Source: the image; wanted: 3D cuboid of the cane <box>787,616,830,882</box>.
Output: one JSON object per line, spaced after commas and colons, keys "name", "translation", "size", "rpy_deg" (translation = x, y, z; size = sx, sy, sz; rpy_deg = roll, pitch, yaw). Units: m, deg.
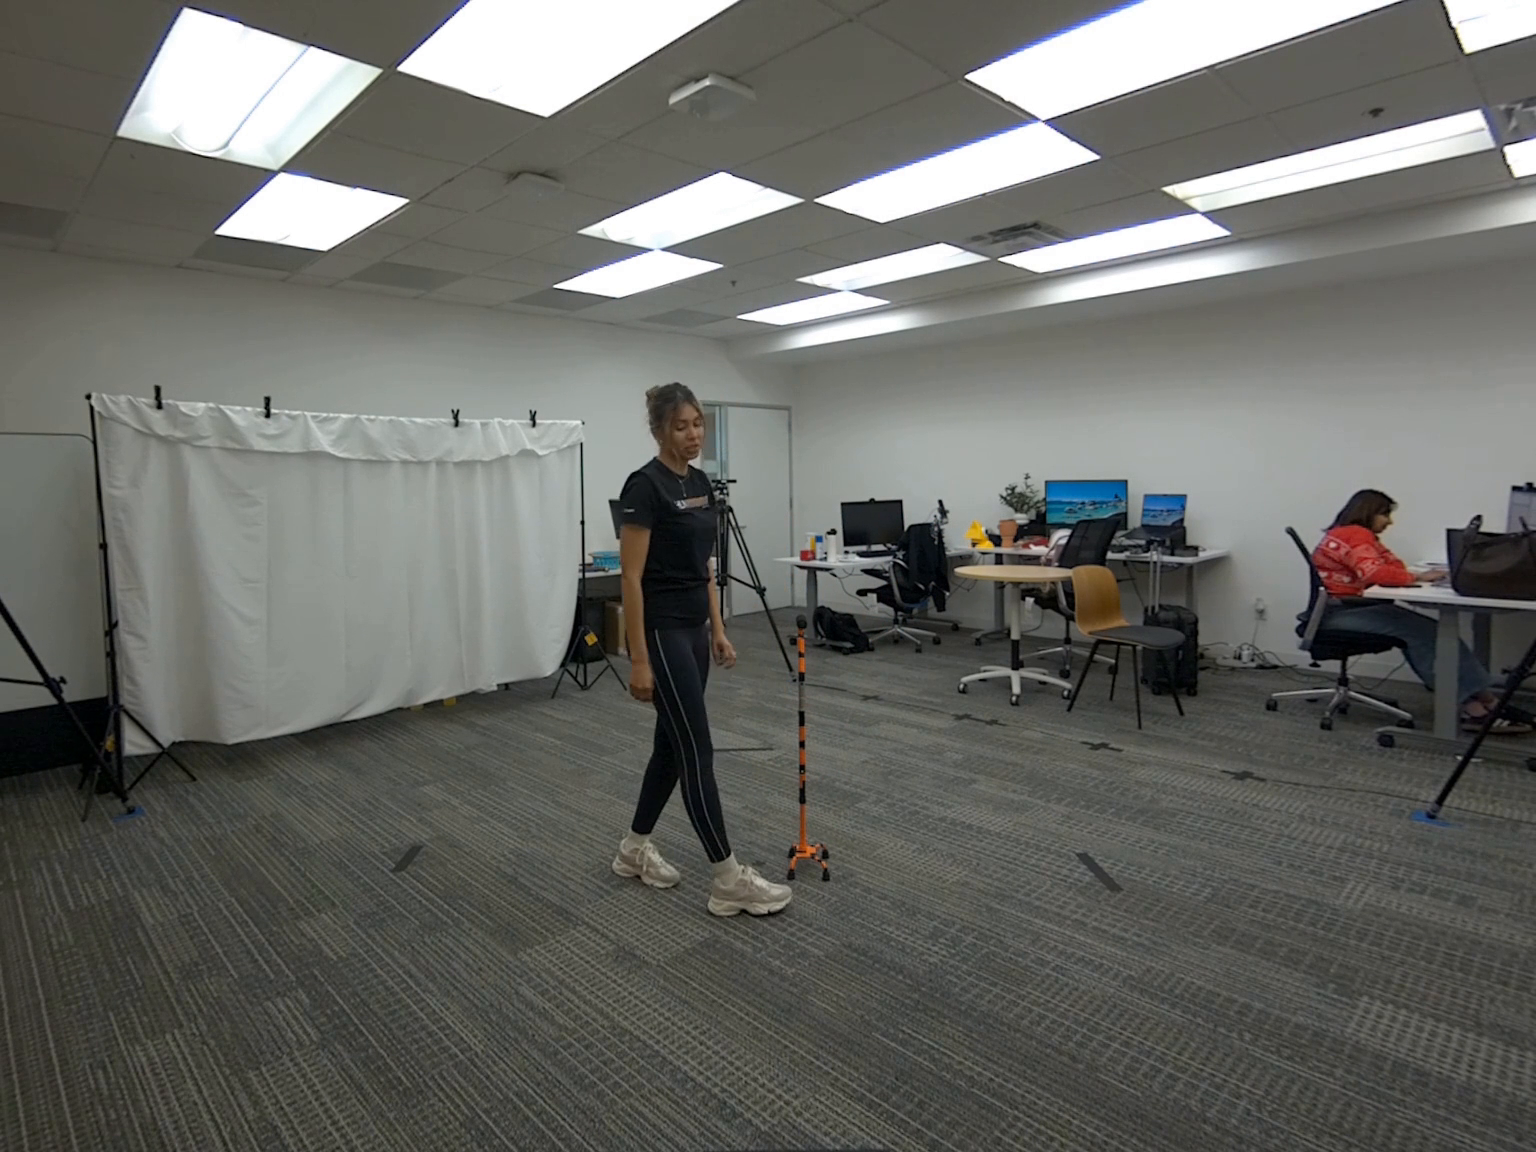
{"name": "cane", "translation": [0.136, 0.600, 3.042], "size": [0.152, 0.905, 0.206], "rpy_deg": [-2, 3, 3]}
